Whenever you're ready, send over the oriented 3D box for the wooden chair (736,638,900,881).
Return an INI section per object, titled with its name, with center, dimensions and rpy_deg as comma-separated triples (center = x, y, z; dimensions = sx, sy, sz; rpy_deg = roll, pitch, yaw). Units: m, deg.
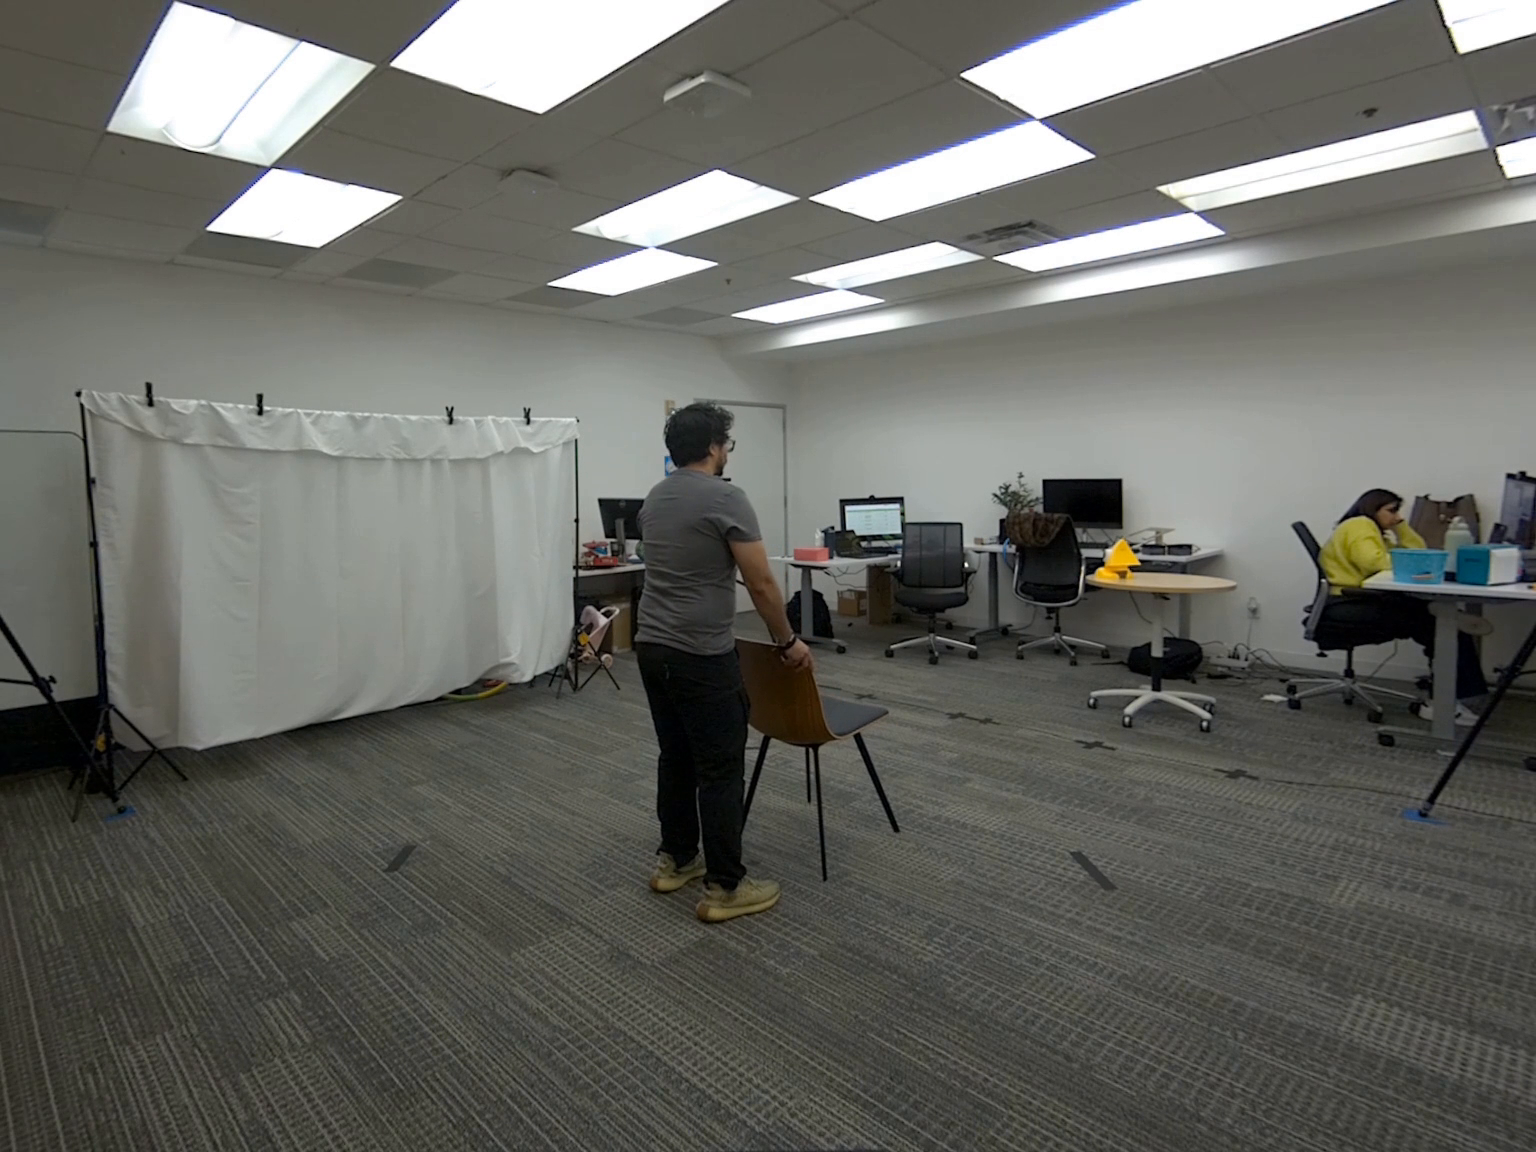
[wooden chair]
center = 0.161, 0.578, 3.216
dimensions = 0.493, 0.868, 0.513
rpy_deg = 3, 15, 44
